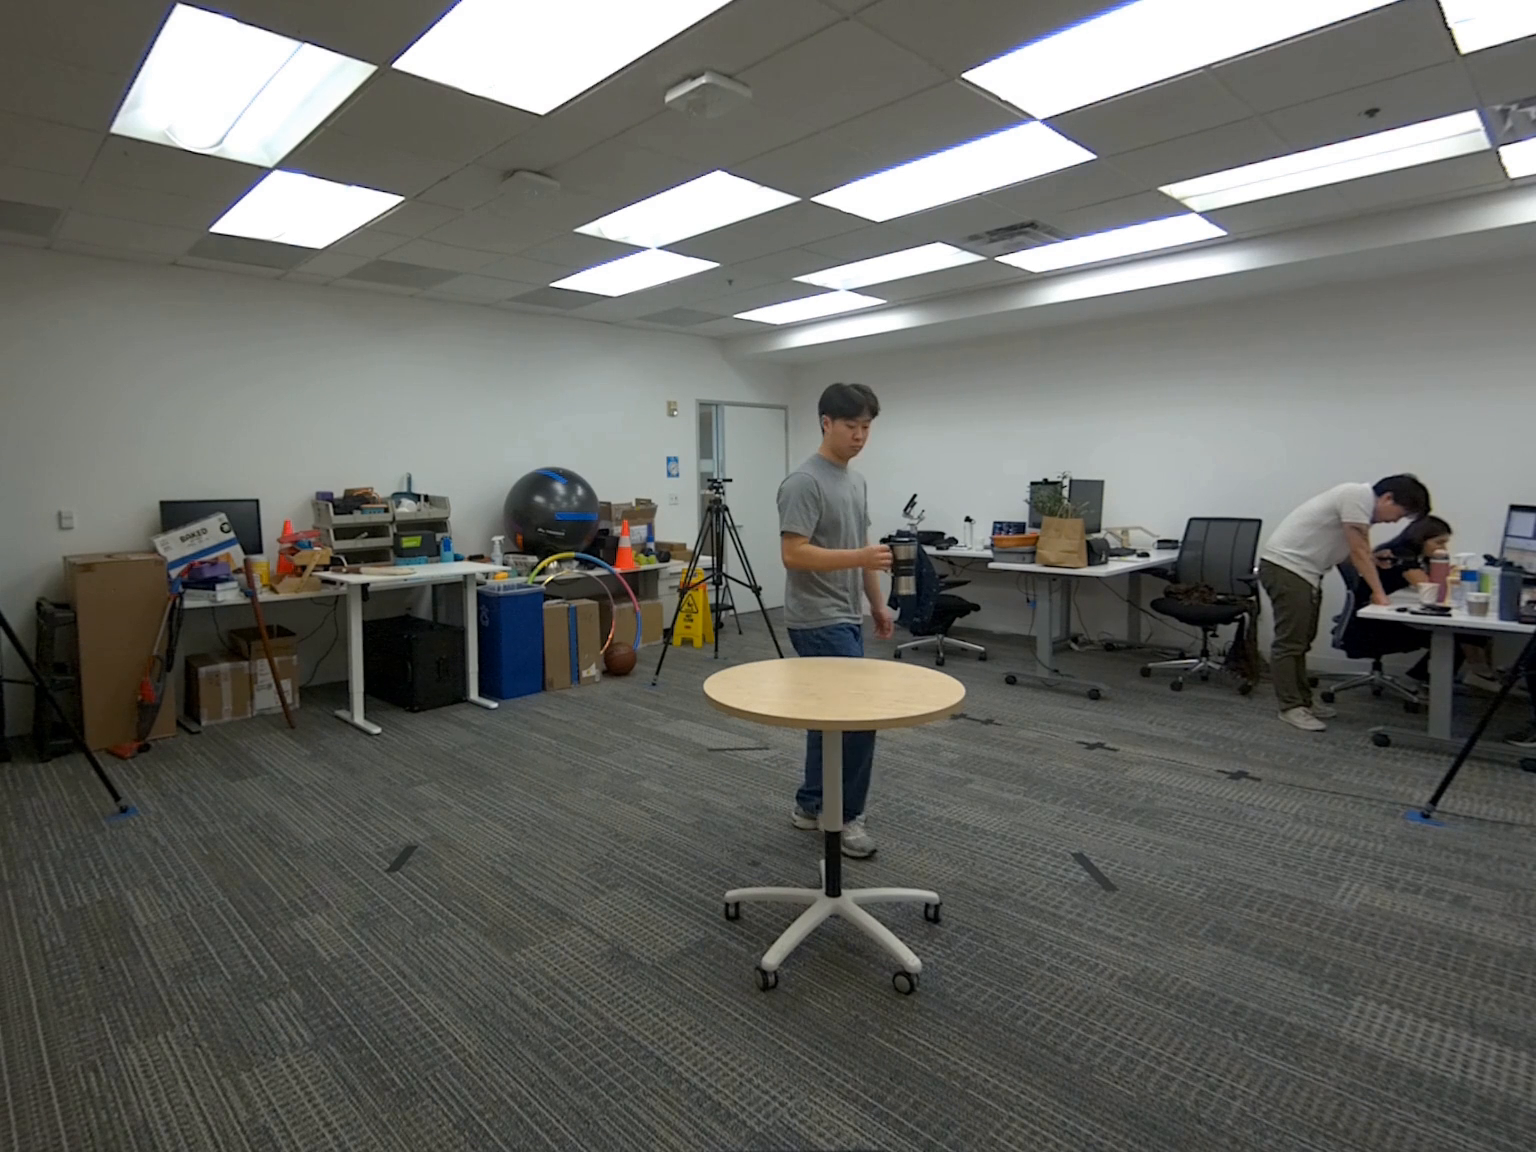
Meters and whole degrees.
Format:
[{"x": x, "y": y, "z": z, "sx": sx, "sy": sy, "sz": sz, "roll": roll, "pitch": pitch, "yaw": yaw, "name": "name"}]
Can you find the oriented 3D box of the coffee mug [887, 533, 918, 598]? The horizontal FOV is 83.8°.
[{"x": 0.444, "y": -0.026, "z": 2.949, "sx": 0.122, "sy": 0.202, "sz": 0.088, "roll": 1, "pitch": 5, "yaw": 3, "name": "coffee mug"}]
